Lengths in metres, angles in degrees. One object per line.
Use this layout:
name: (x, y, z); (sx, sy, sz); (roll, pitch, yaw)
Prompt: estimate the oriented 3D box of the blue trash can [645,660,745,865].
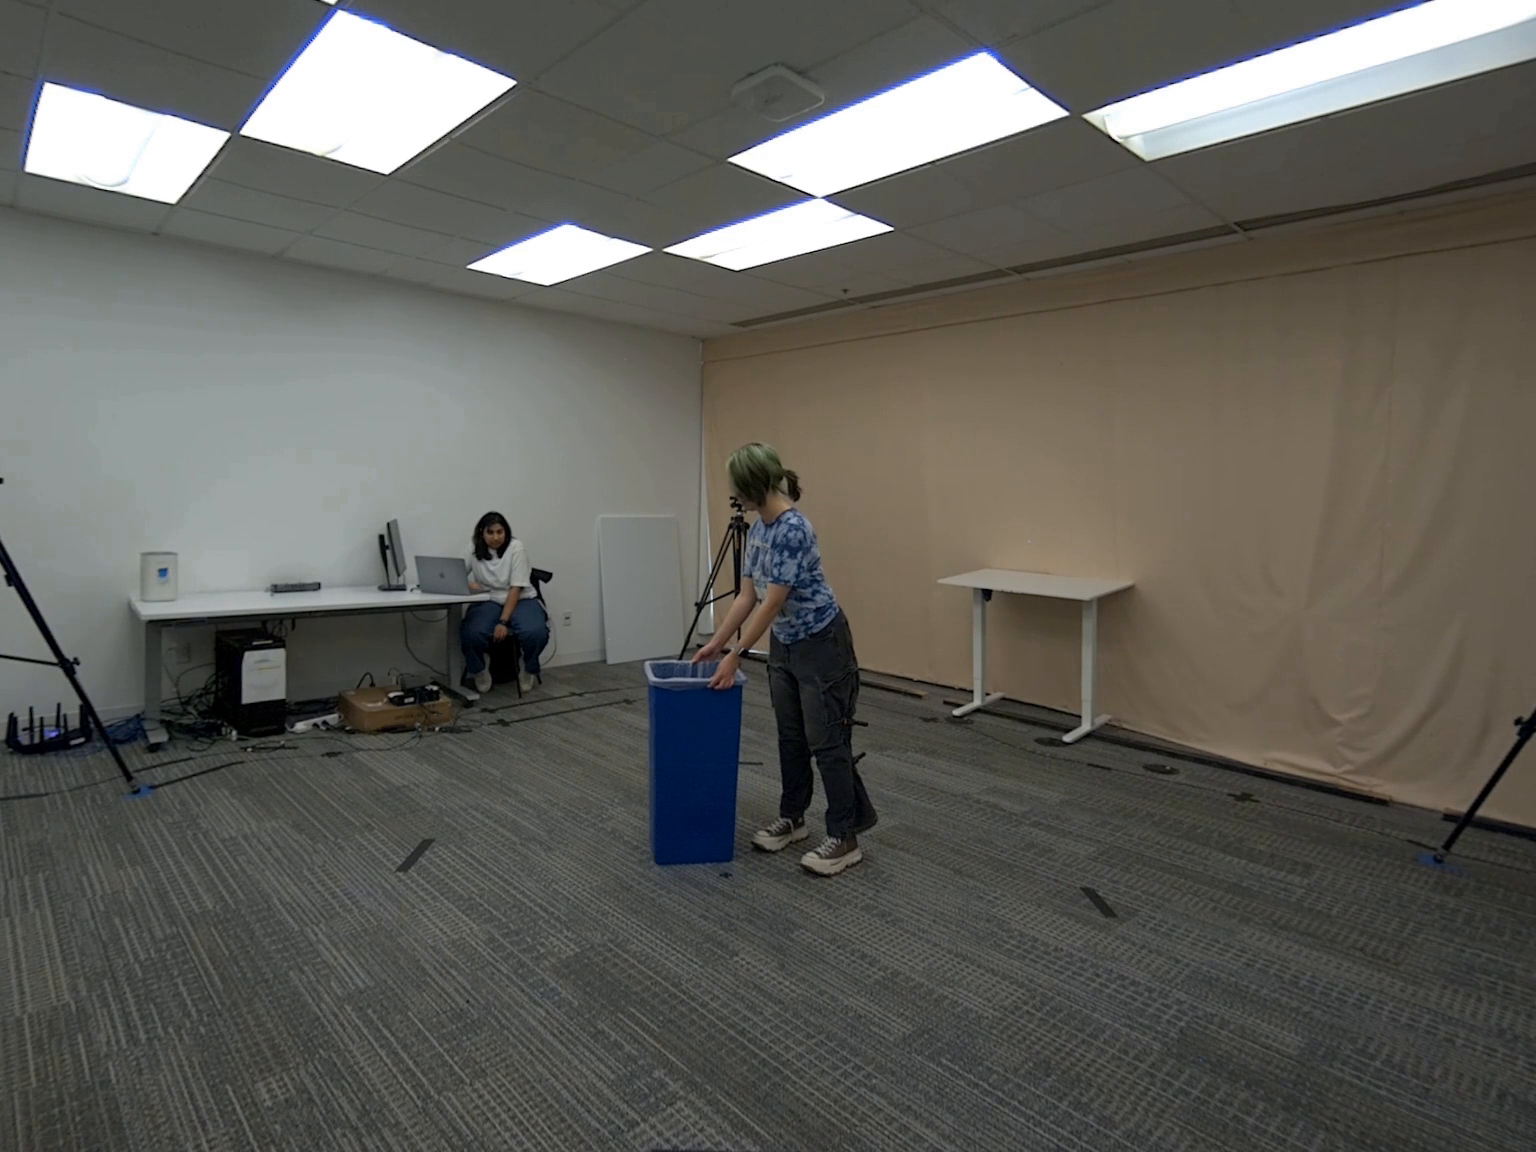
blue trash can: (-0.300, 0.721, 3.310); (0.374, 0.712, 0.378); (1, 3, -12)
